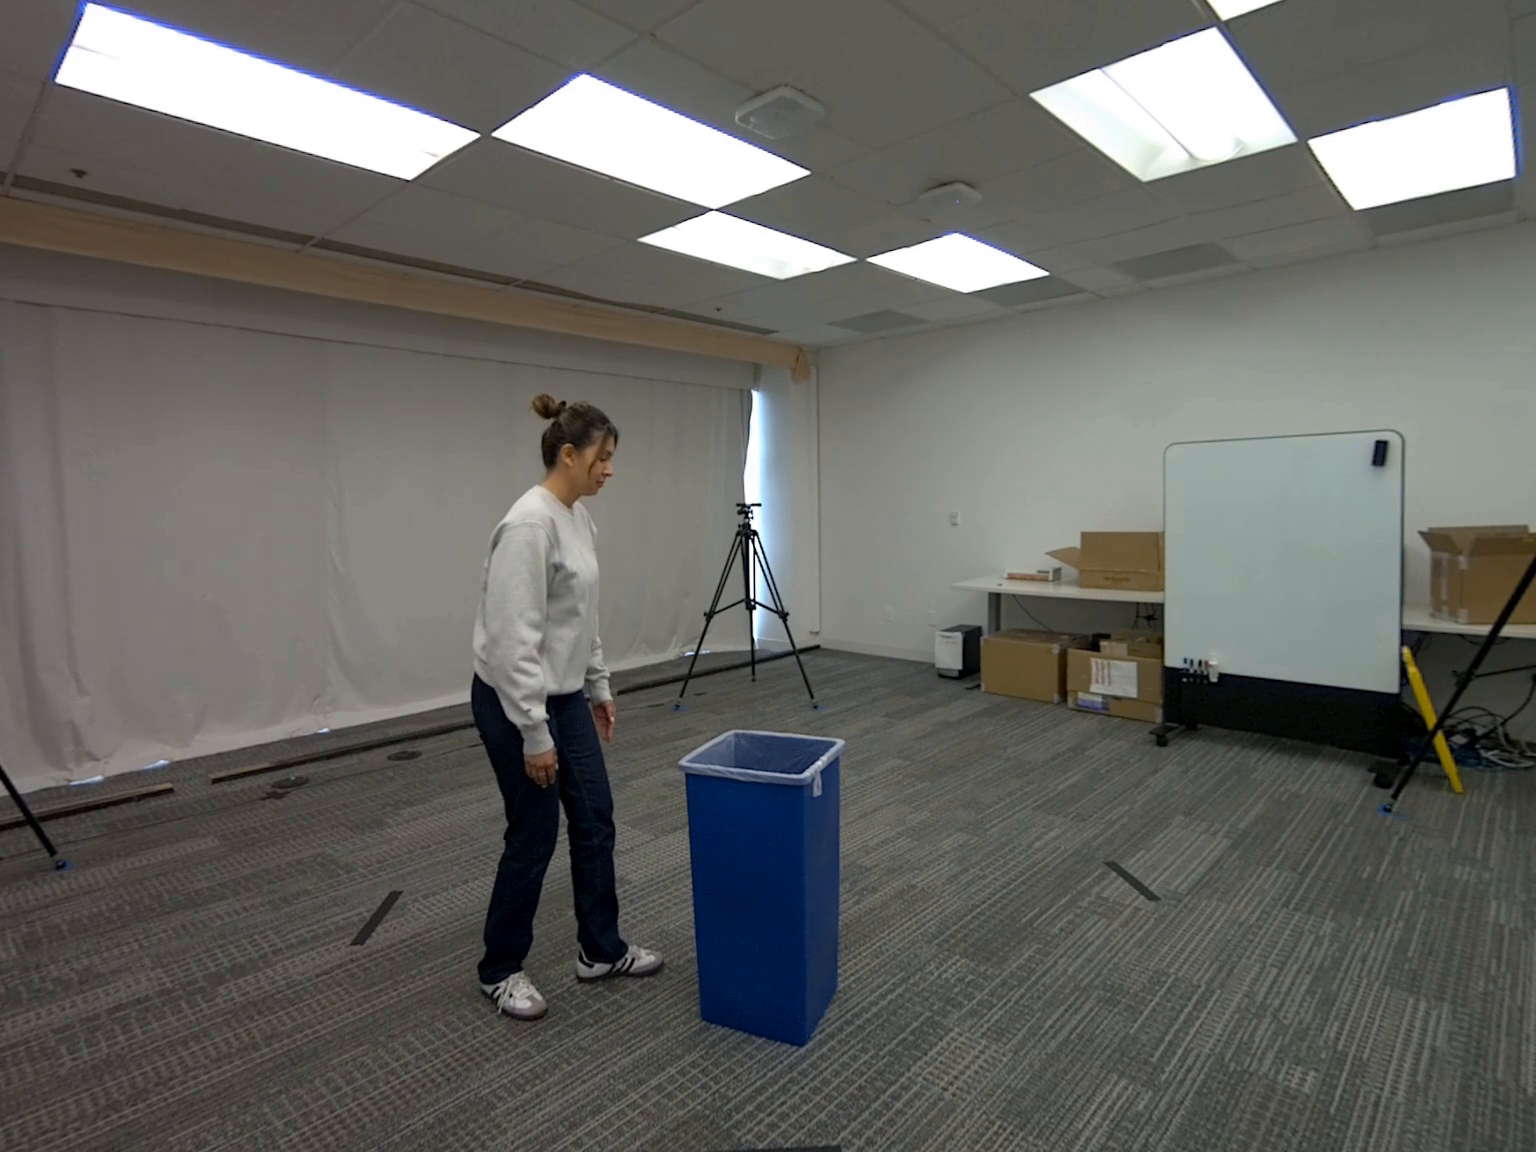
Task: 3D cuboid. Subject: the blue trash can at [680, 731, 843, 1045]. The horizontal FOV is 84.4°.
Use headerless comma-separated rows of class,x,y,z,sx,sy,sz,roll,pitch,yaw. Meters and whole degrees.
blue trash can,-0.002,0.837,2.325,0.383,0.712,0.370,1,3,24
